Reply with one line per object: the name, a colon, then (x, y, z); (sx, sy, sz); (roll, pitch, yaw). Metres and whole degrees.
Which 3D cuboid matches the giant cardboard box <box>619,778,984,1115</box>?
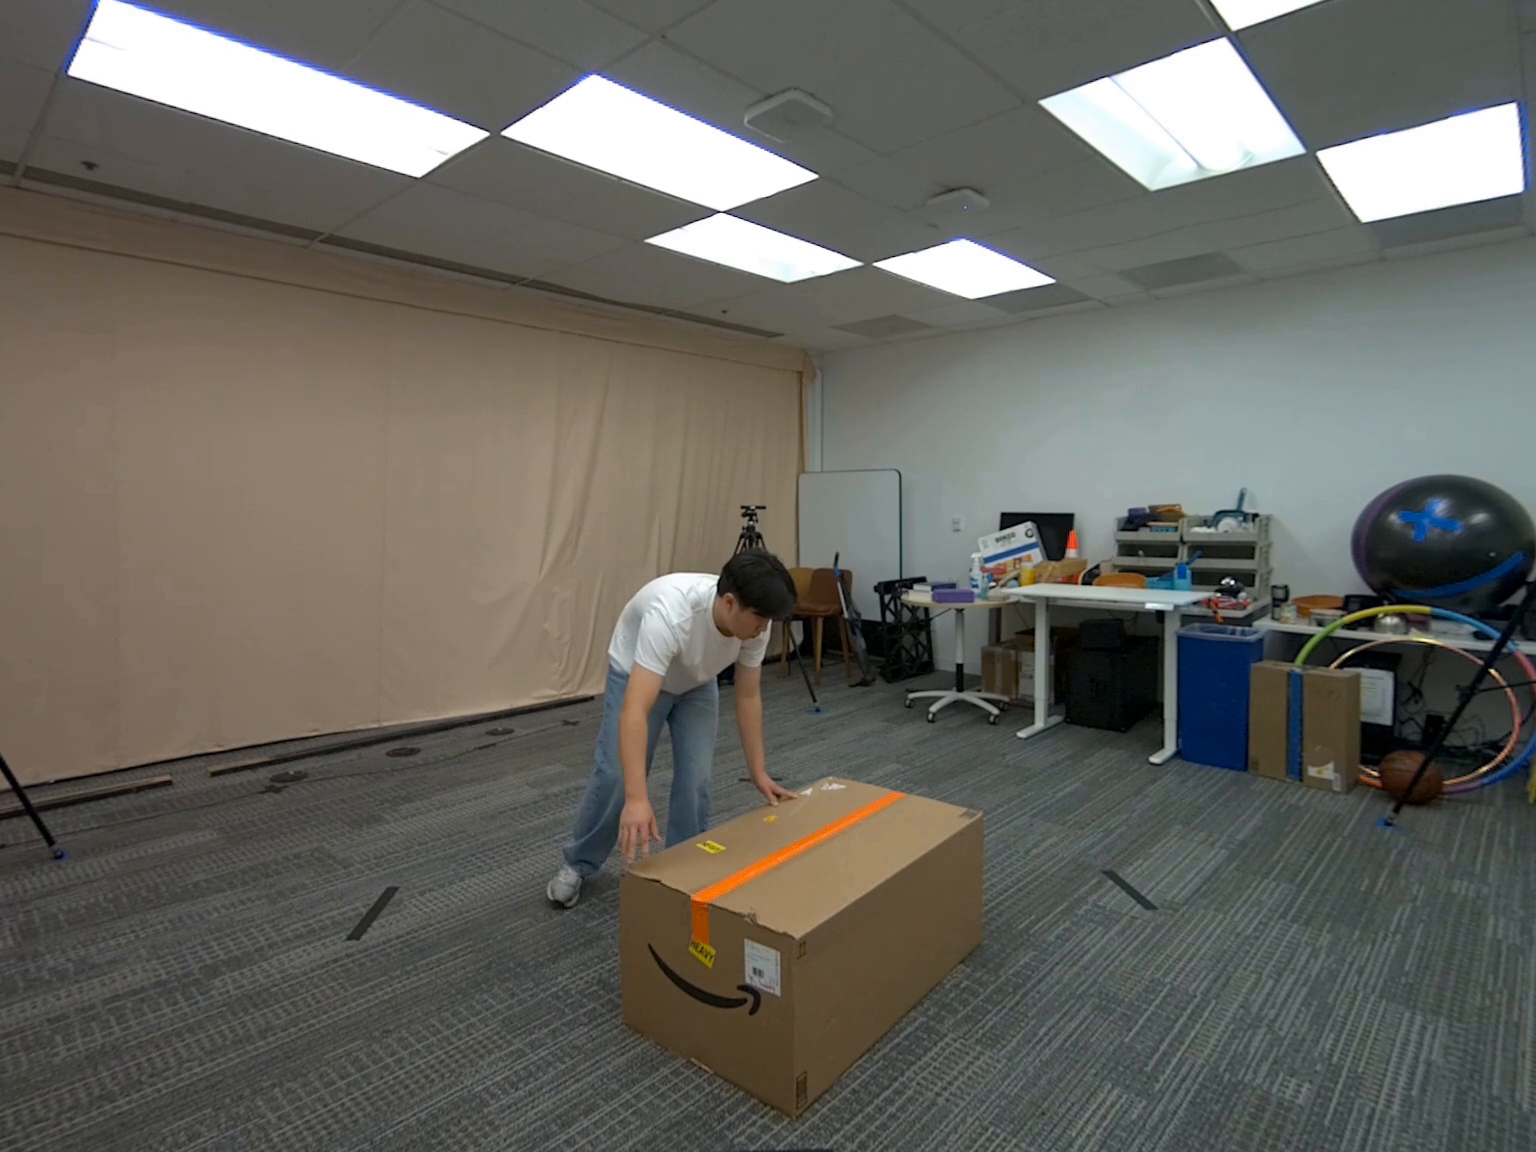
giant cardboard box: (0.150, 0.973, 2.454); (0.596, 0.425, 0.995); (2, 5, 39)
